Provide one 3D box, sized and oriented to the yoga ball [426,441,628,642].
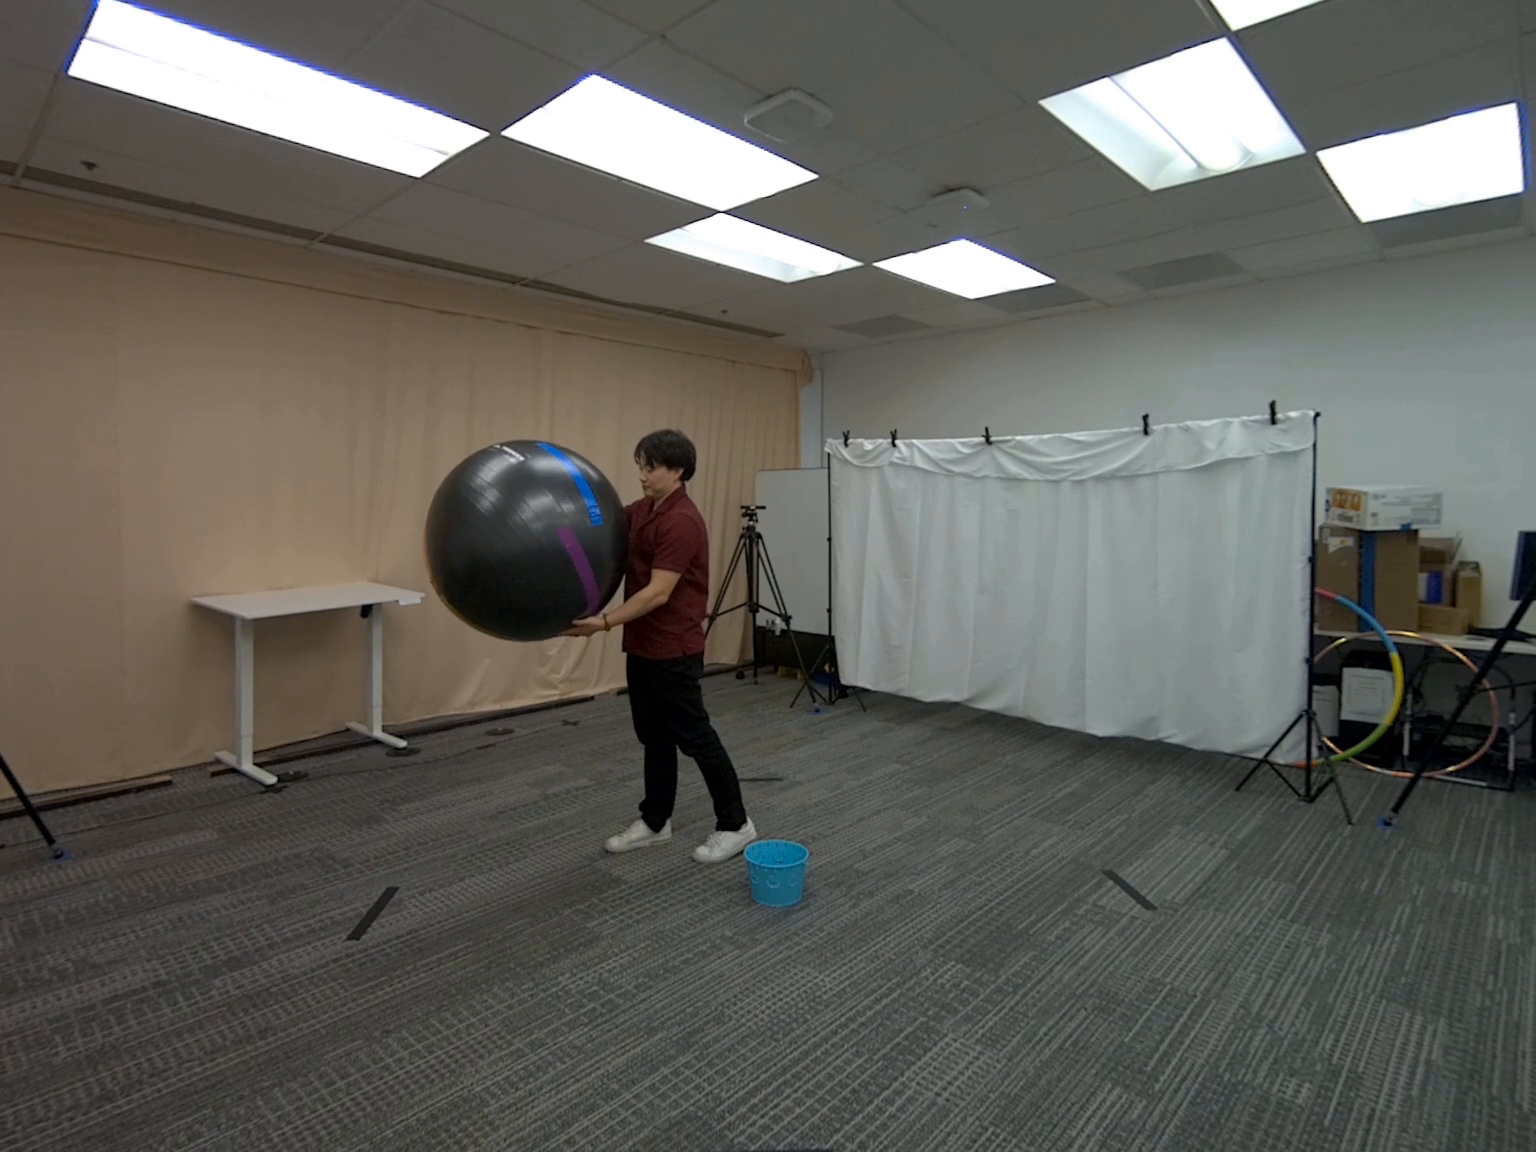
[{"bbox_3d":[-0.912,-0.131,3.182,0.757,0.756,0.761,0,4,-2],"label":"yoga ball"}]
